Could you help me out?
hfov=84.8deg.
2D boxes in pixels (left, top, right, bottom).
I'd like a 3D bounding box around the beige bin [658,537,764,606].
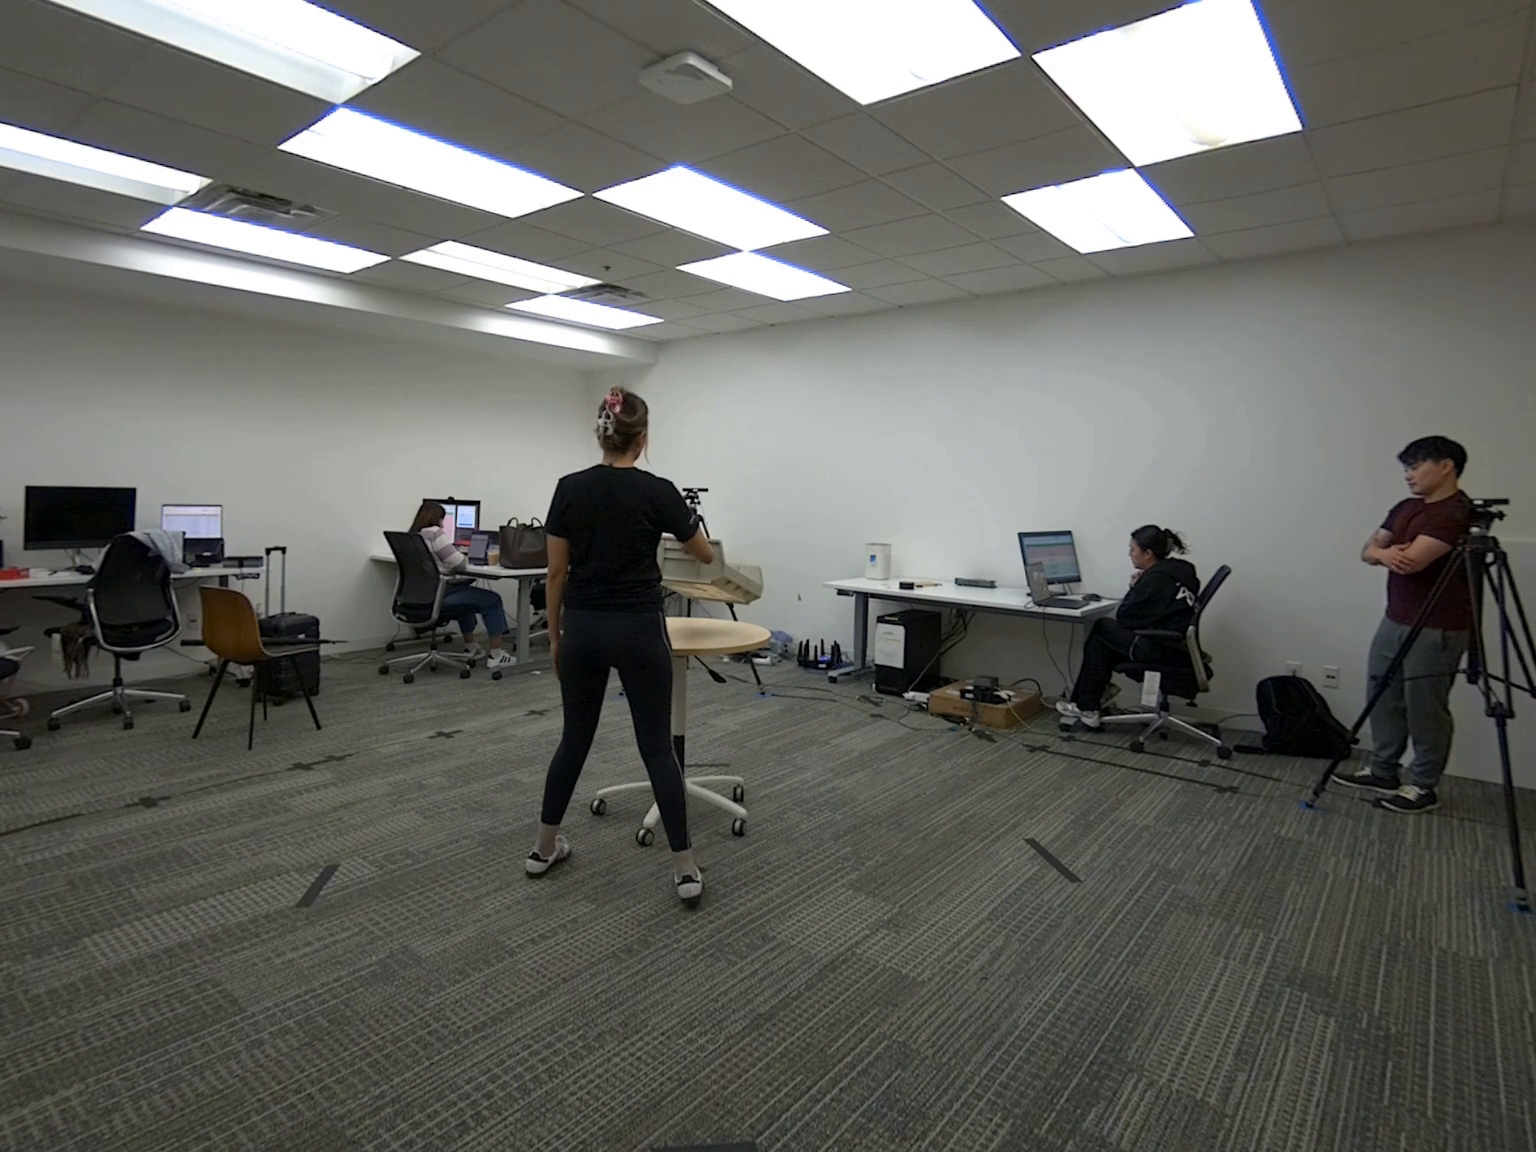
[{"bbox_3d":[-0.274,-0.022,3.557,0.387,0.190,0.408,5,-11,25],"label":"beige bin"}]
